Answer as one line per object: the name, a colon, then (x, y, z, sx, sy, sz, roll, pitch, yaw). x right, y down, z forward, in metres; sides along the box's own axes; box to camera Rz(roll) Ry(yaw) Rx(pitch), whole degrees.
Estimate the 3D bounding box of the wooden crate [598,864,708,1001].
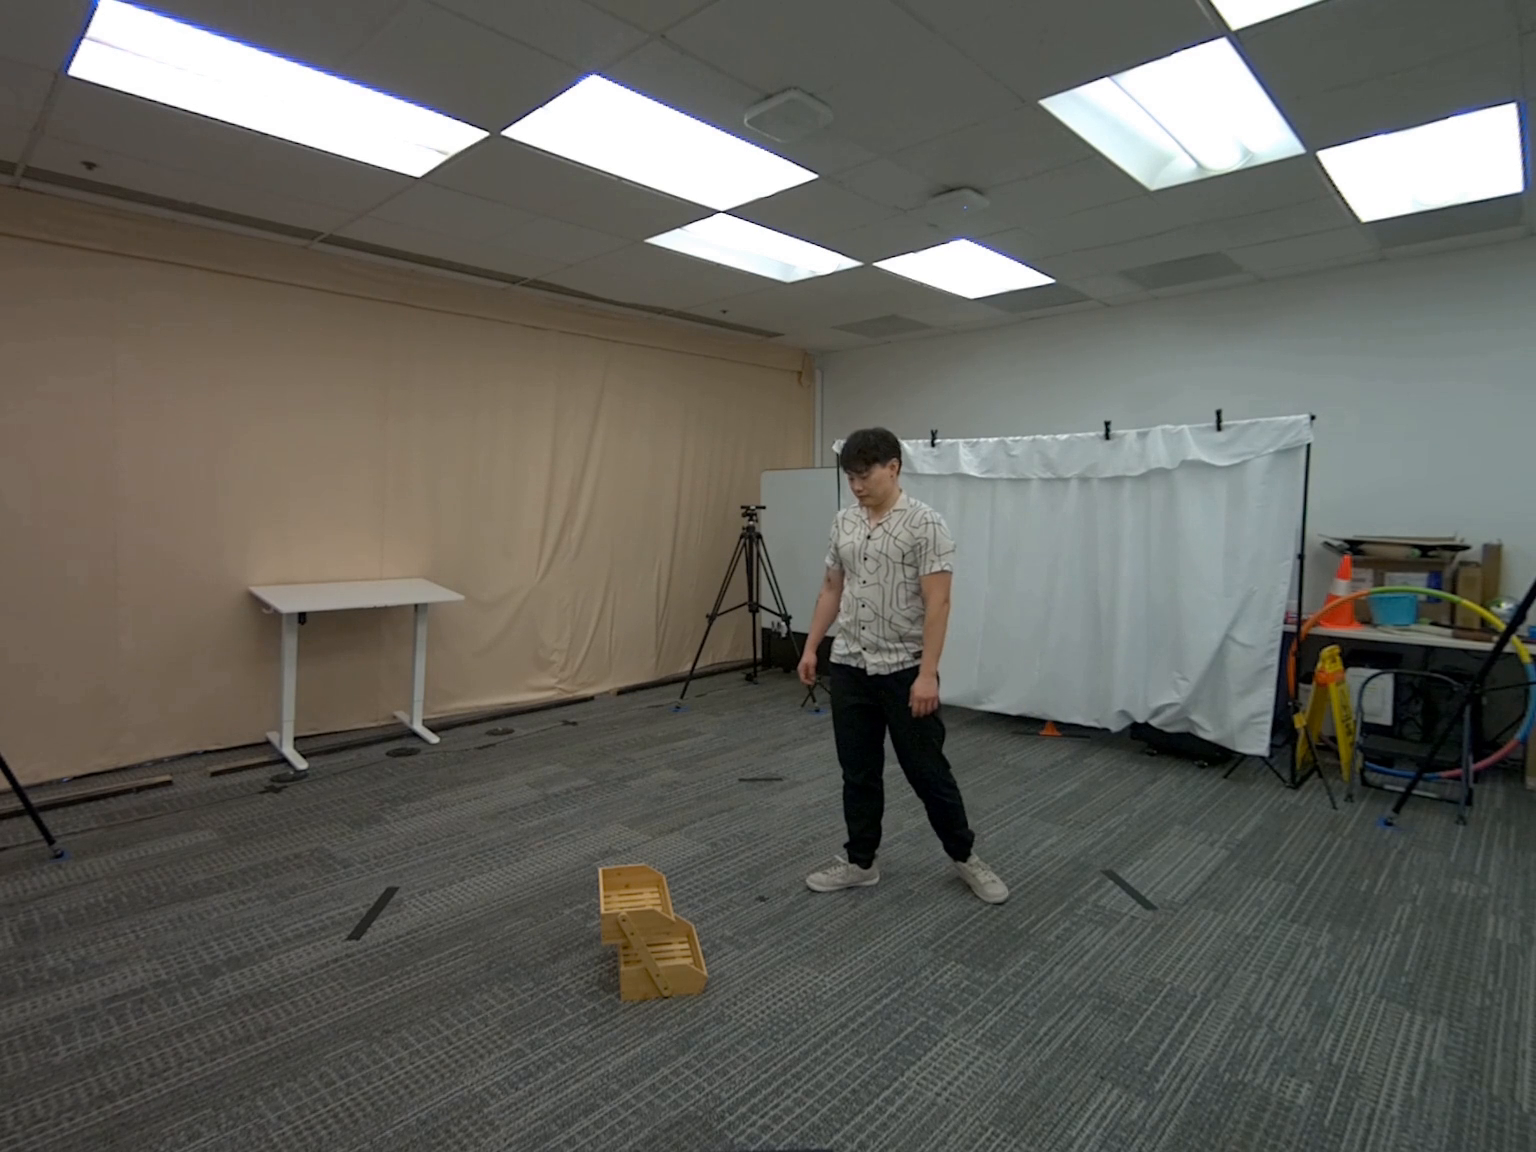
wooden crate: (-0.346, 1.047, 2.523, 0.299, 0.273, 0.329, -1, 4, -11)
